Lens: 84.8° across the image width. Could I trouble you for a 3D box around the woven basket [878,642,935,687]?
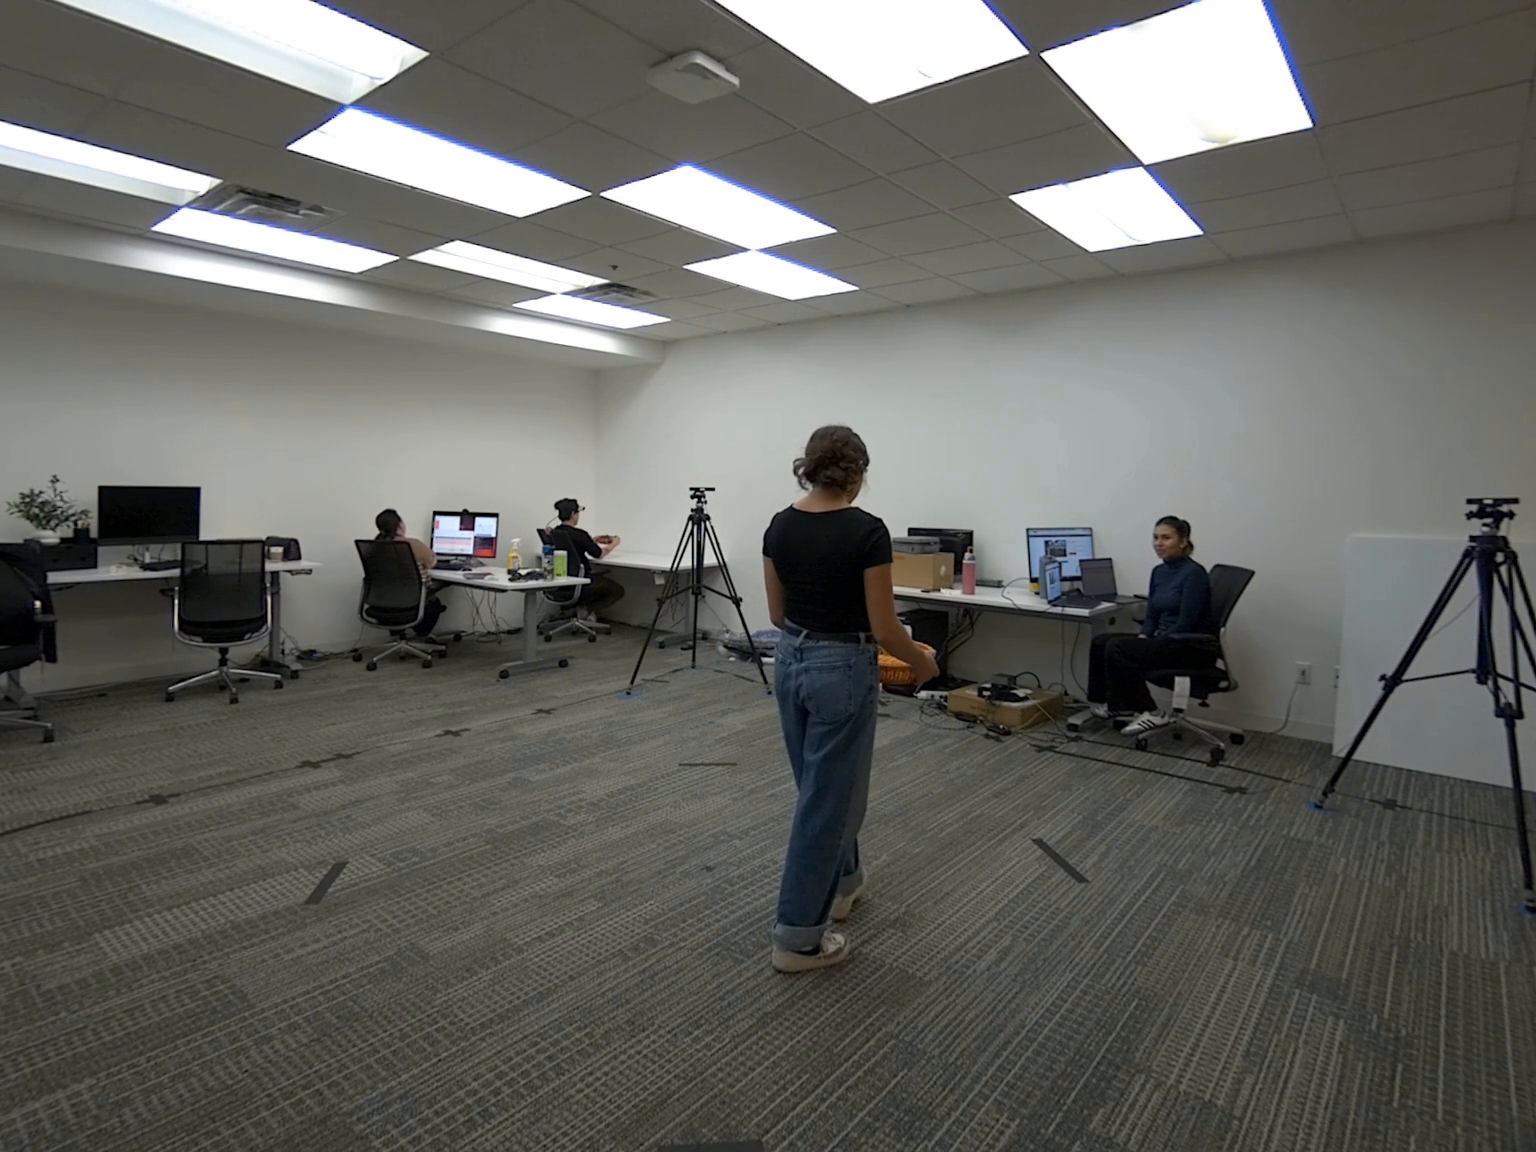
[{"bbox_3d":[0.339,0.271,2.681,0.363,0.072,0.246,11,19,44],"label":"woven basket"}]
